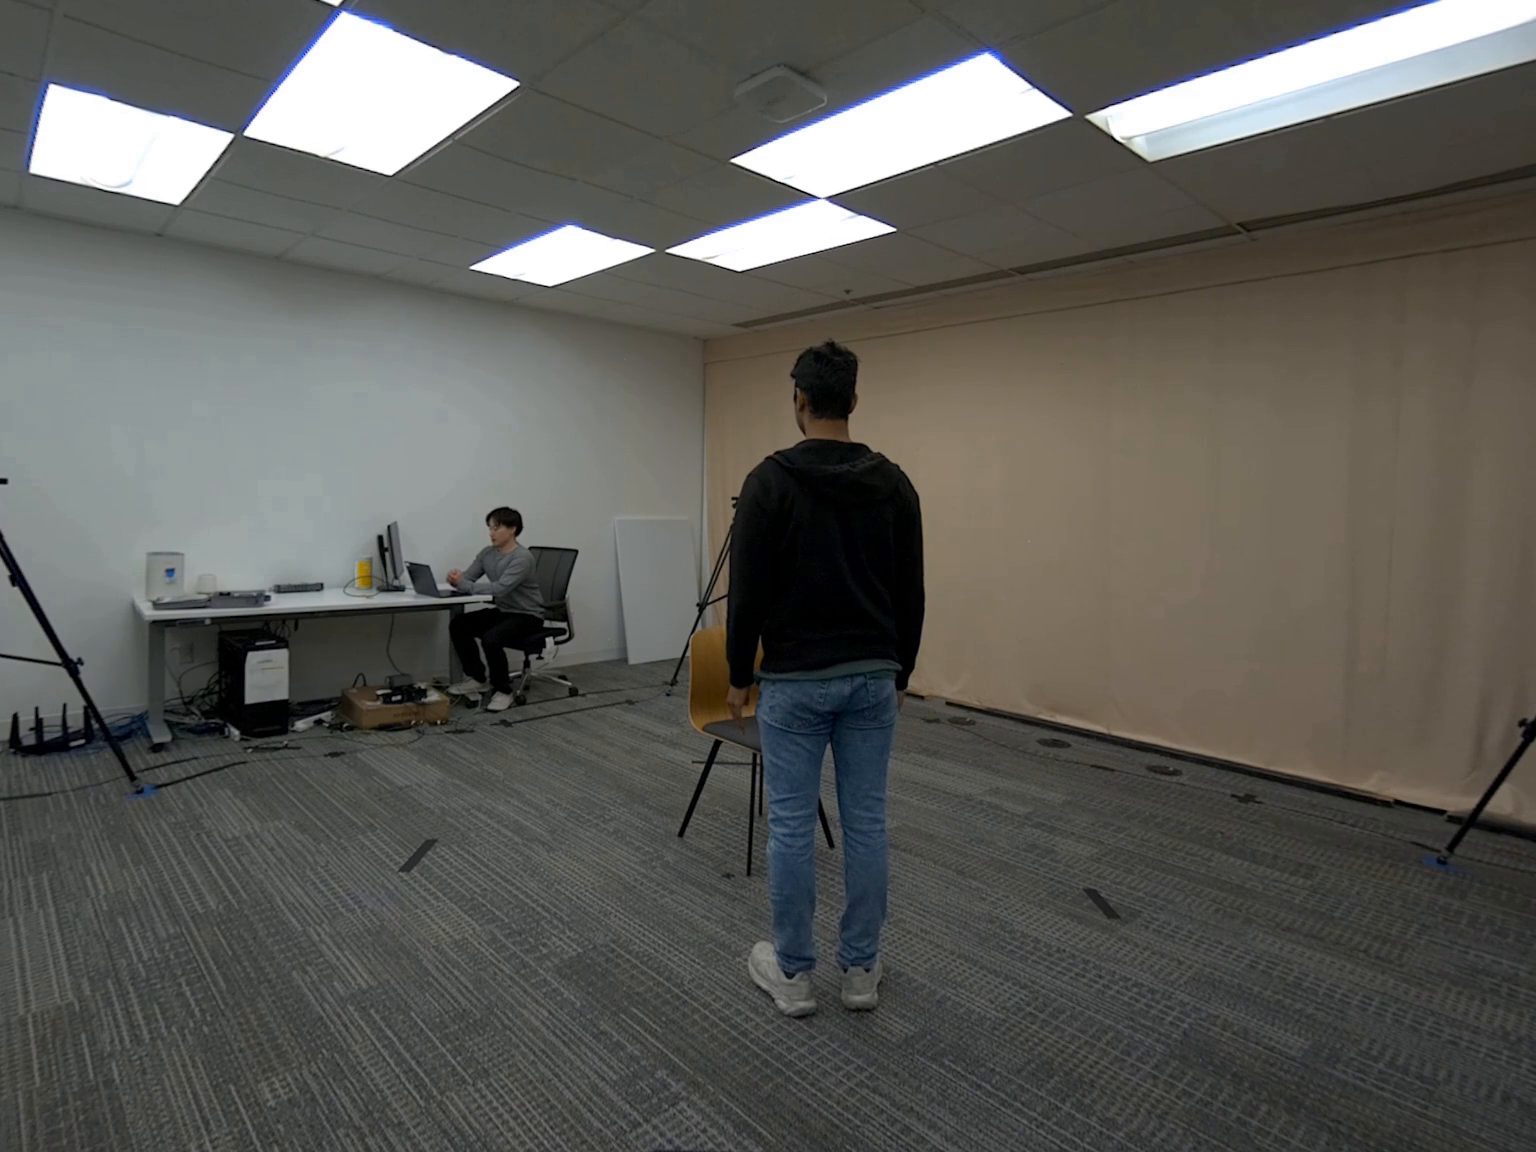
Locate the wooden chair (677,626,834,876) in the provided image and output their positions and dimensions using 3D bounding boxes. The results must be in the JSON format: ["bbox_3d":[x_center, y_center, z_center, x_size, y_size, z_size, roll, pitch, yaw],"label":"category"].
[{"bbox_3d":[-0.045,0.657,3.371,0.467,0.878,0.535,0,-1,-40],"label":"wooden chair"}]
